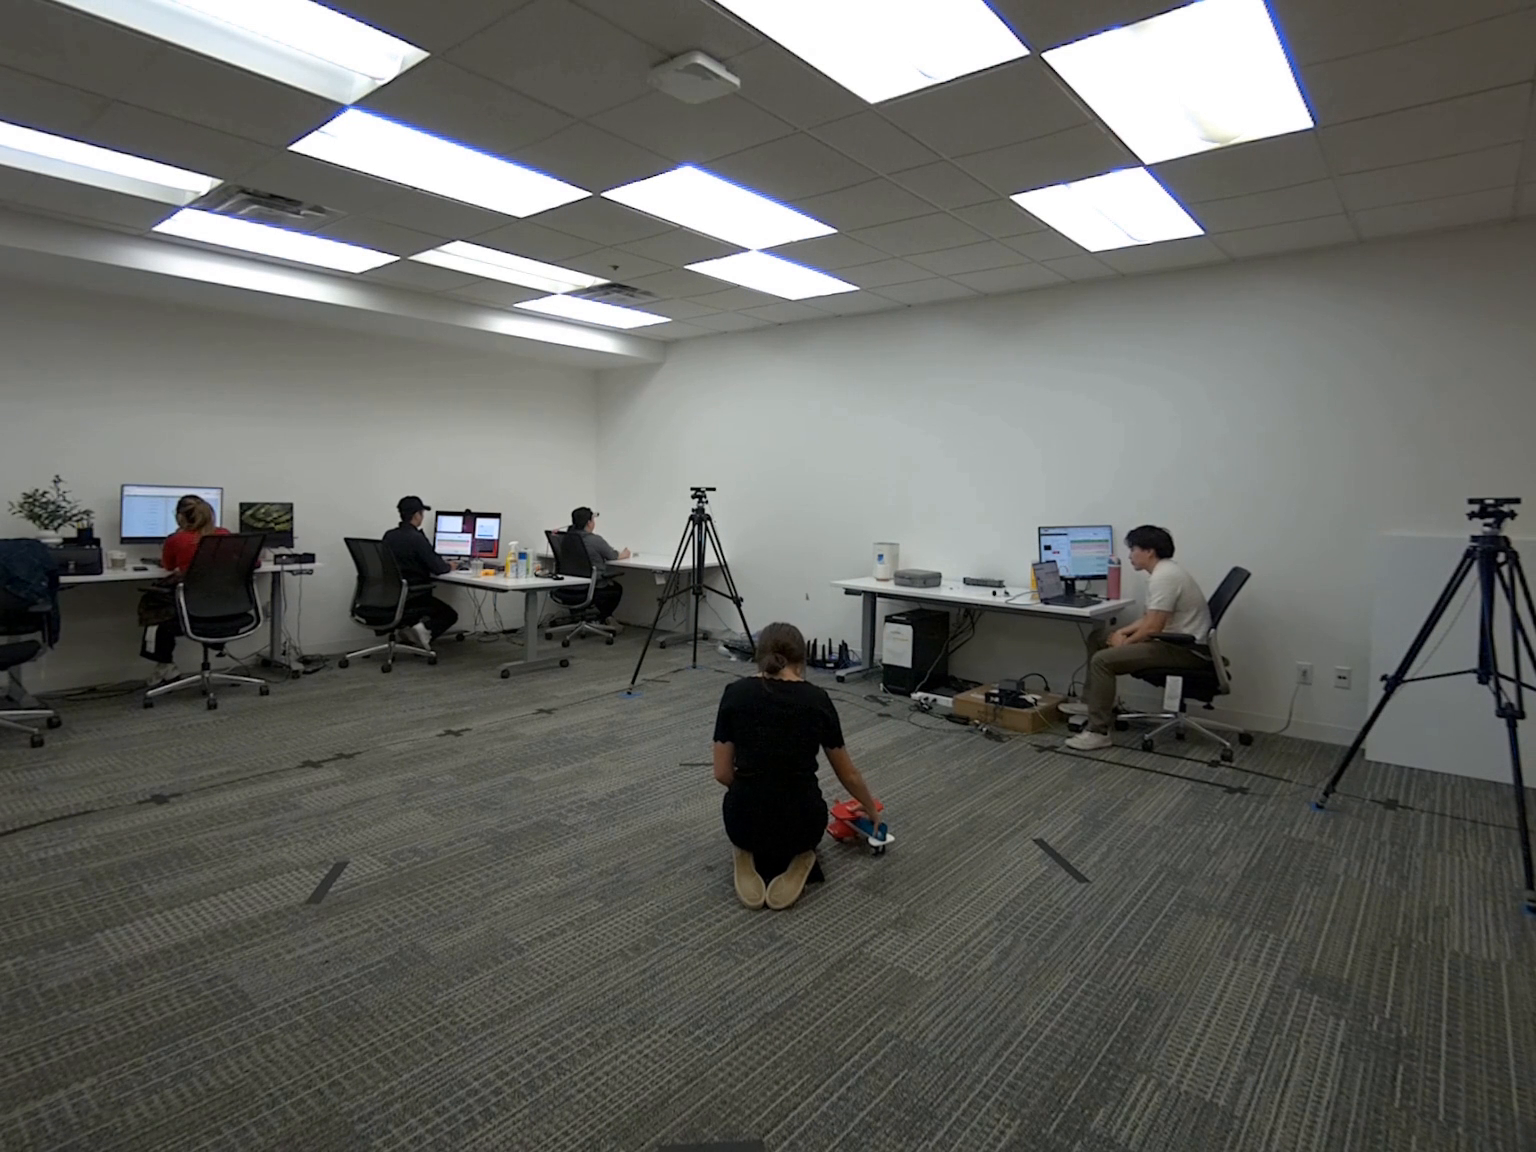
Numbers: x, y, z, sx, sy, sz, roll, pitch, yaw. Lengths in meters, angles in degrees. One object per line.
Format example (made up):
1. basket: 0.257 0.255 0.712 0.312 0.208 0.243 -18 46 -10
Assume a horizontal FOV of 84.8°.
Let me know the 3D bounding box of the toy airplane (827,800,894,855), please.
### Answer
1. toy airplane: 0.371 0.979 3.362 0.266 0.156 0.245 3 3 24
